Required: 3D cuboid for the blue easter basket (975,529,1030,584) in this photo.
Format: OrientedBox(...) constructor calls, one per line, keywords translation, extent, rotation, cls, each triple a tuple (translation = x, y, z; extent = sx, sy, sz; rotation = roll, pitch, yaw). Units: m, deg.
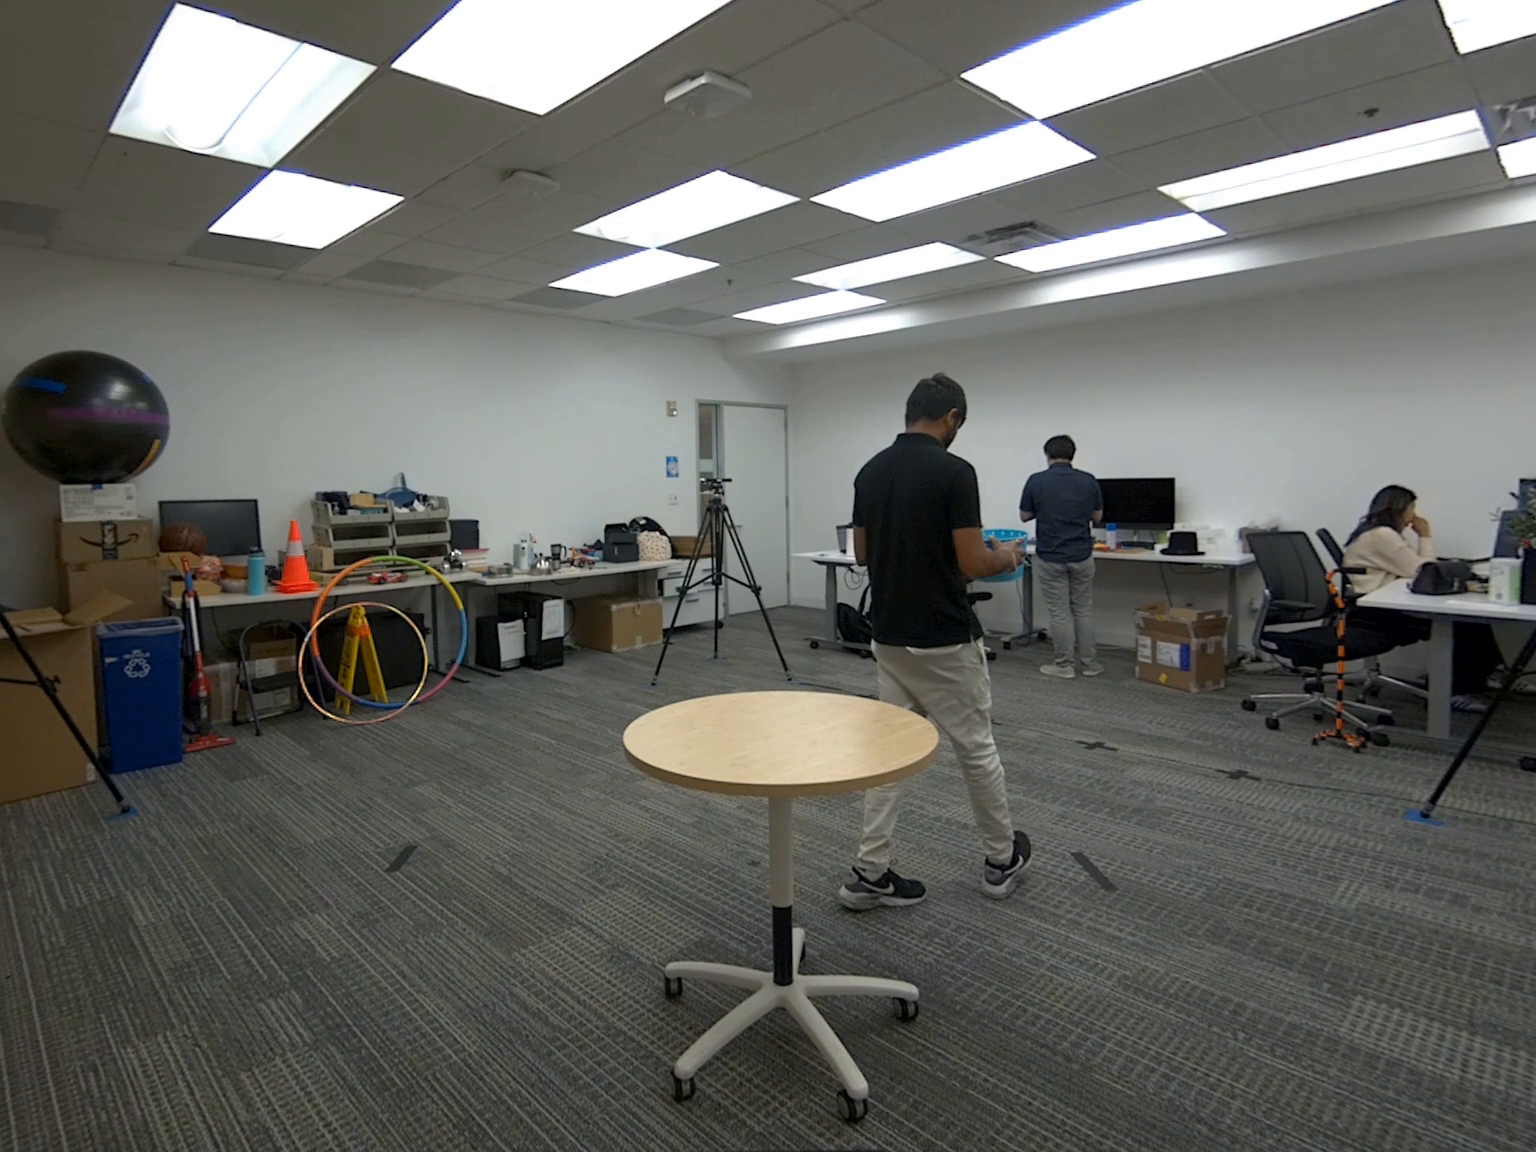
OrientedBox(translation=(0.806, -0.072, 2.991), extent=(0.243, 0.155, 0.245), rotation=(-4, 7, -1), cls="blue easter basket")
